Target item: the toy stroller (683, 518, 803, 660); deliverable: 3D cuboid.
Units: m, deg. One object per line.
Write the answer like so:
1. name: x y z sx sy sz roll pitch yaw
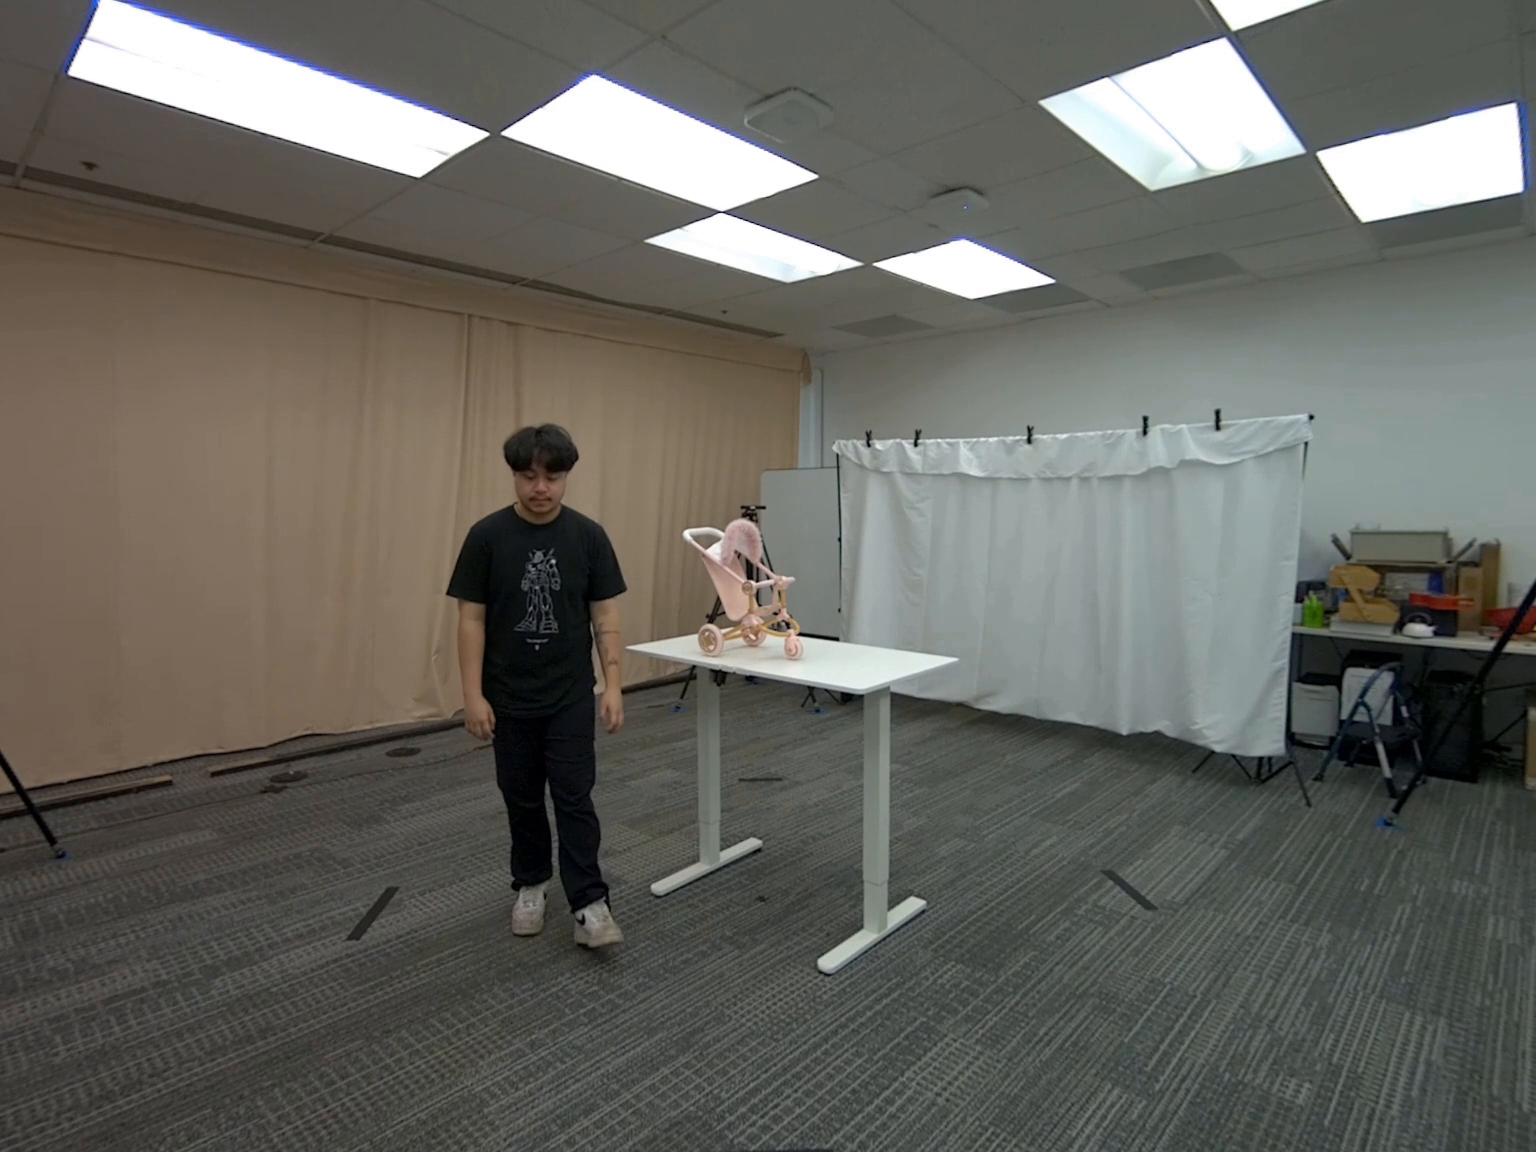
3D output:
1. toy stroller: -0.065 0.047 2.893 0.350 0.538 0.273 -18 -8 41
